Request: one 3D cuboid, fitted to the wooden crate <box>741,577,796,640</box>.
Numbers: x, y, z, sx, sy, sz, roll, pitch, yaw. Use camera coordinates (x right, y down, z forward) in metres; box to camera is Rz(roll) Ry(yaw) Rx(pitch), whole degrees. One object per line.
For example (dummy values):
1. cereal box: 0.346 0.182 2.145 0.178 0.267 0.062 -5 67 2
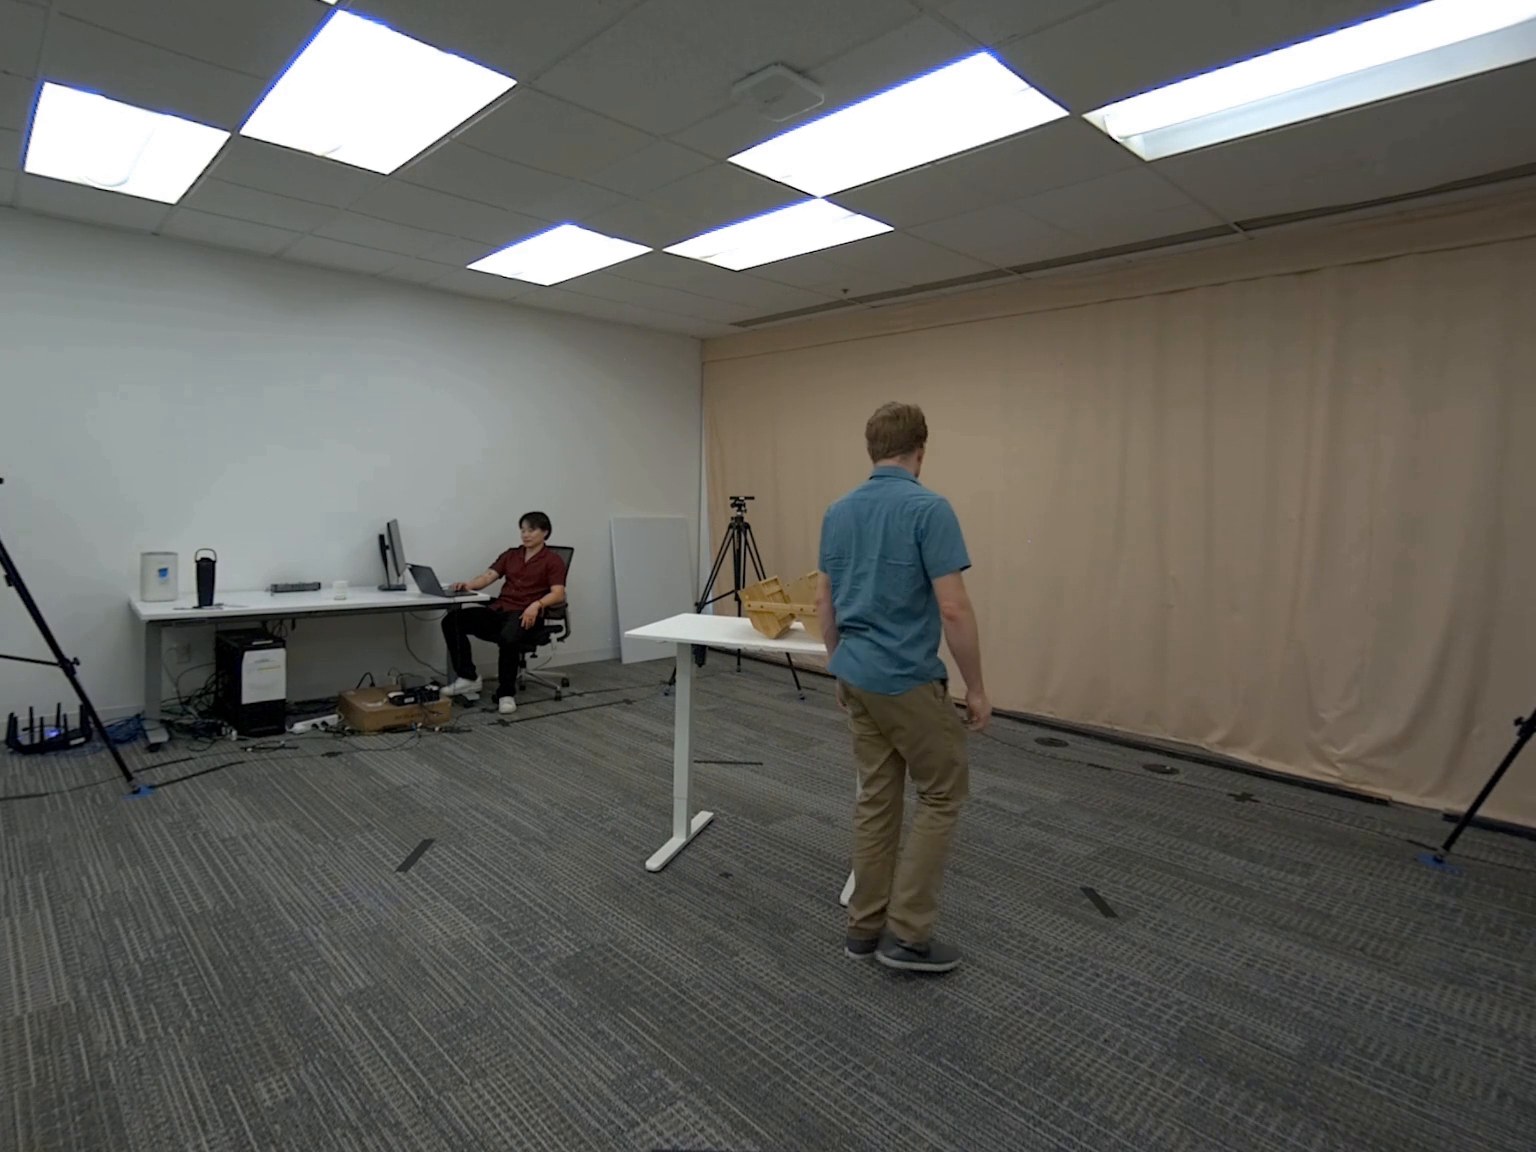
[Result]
1. wooden crate: 0.085 0.132 3.171 0.275 0.303 0.321 -25 -3 15
